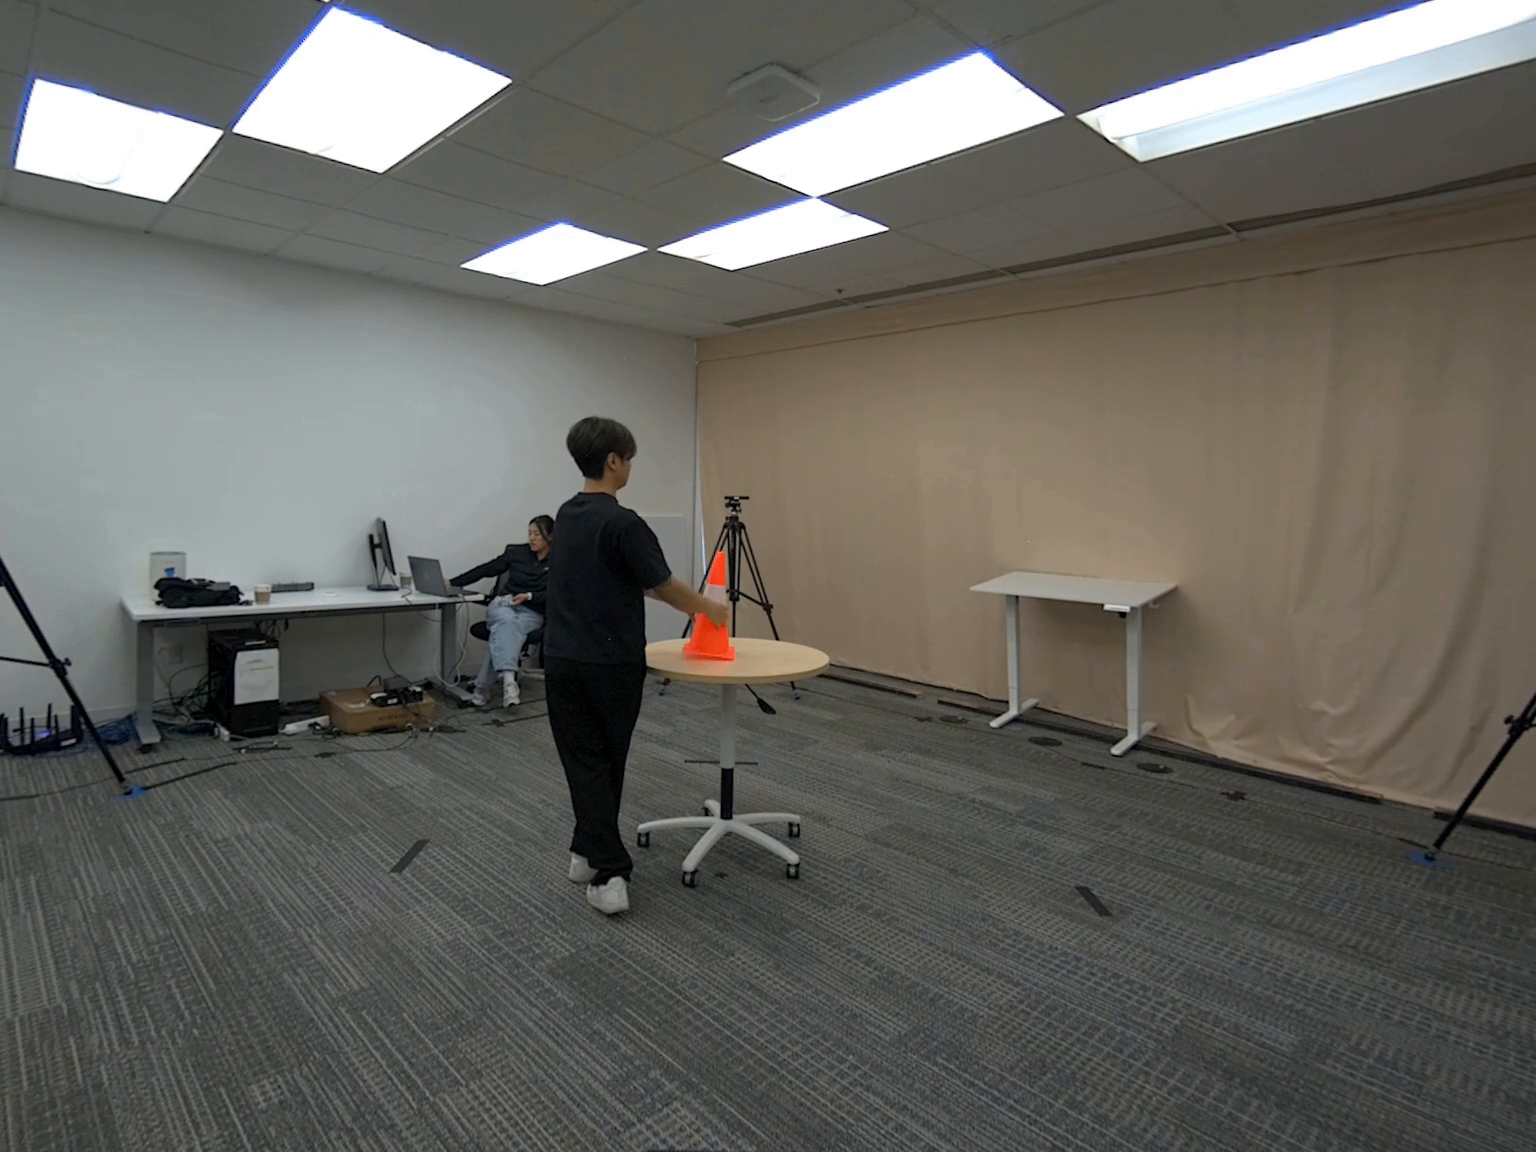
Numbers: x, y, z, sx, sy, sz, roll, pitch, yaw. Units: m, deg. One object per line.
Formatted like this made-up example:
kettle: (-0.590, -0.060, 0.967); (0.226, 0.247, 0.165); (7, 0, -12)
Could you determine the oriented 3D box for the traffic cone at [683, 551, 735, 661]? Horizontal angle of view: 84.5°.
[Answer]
traffic cone: (-0.209, 0.097, 3.210); (0.206, 0.382, 0.202); (9, 5, 16)
